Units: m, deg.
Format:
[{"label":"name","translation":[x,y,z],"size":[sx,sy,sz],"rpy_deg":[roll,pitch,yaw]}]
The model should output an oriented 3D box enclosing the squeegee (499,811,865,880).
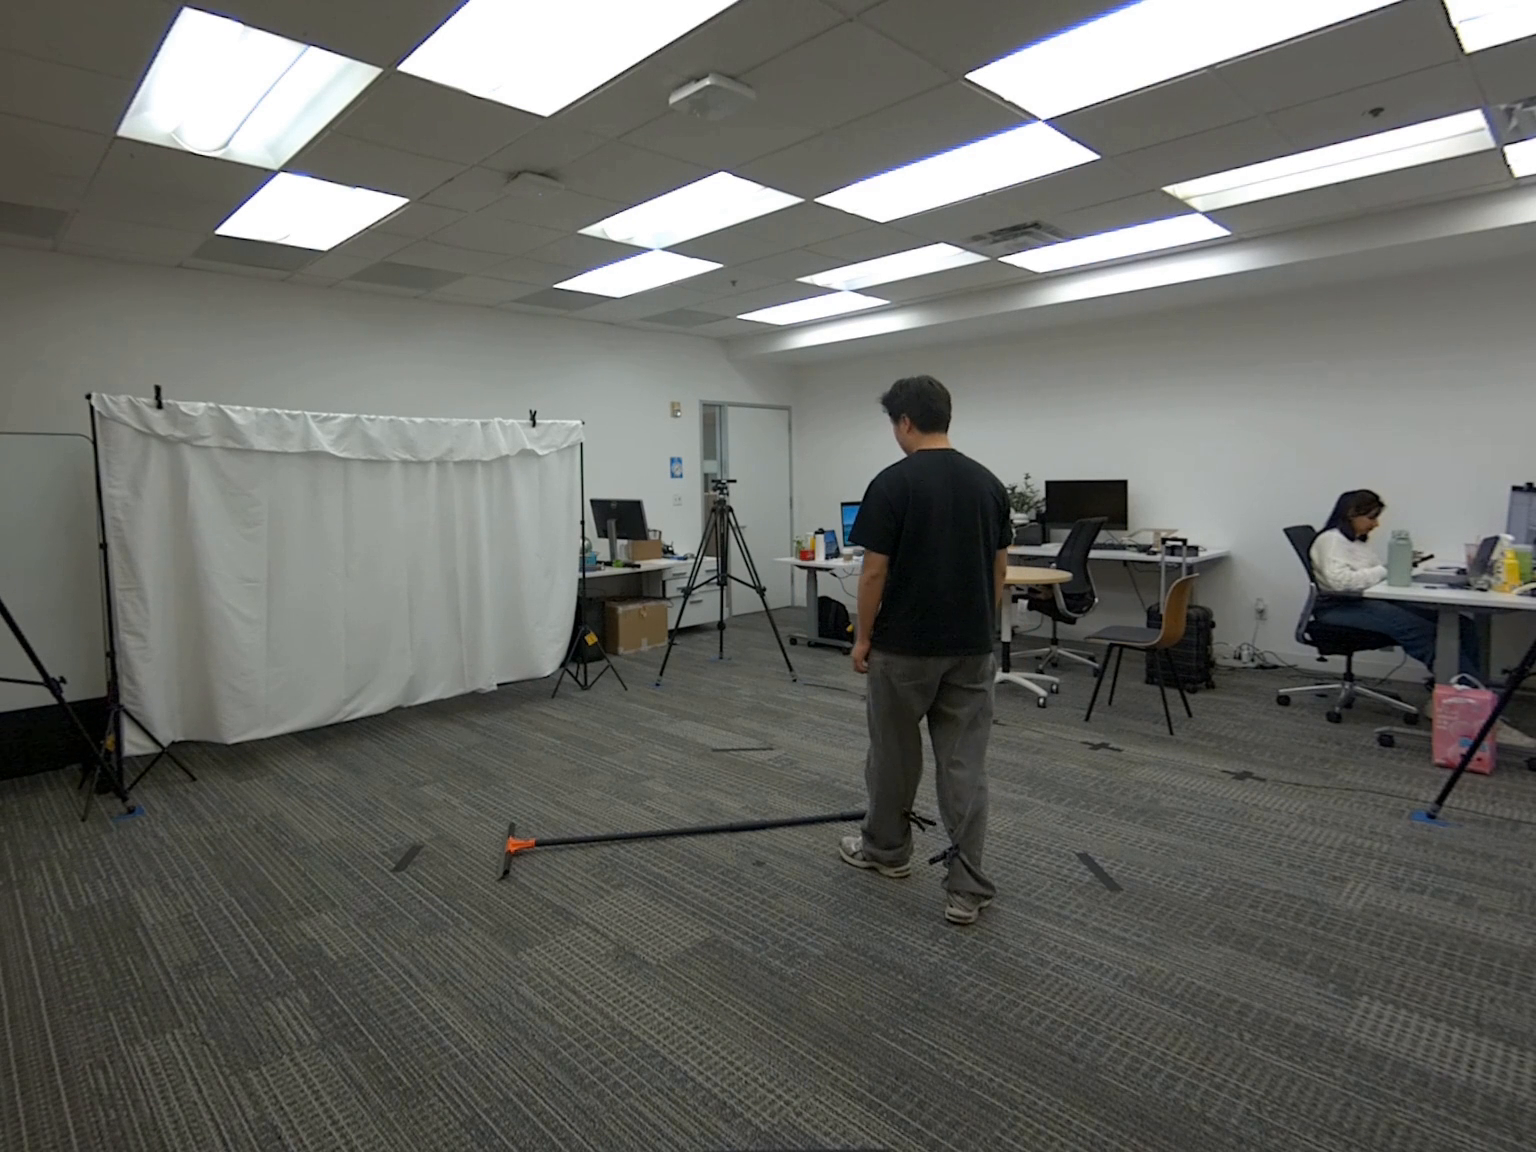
[{"label":"squeegee","translation":[-0.253,0.979,3.371],"size":[1.520,0.053,0.445],"rpy_deg":[-3,7,-12]}]
